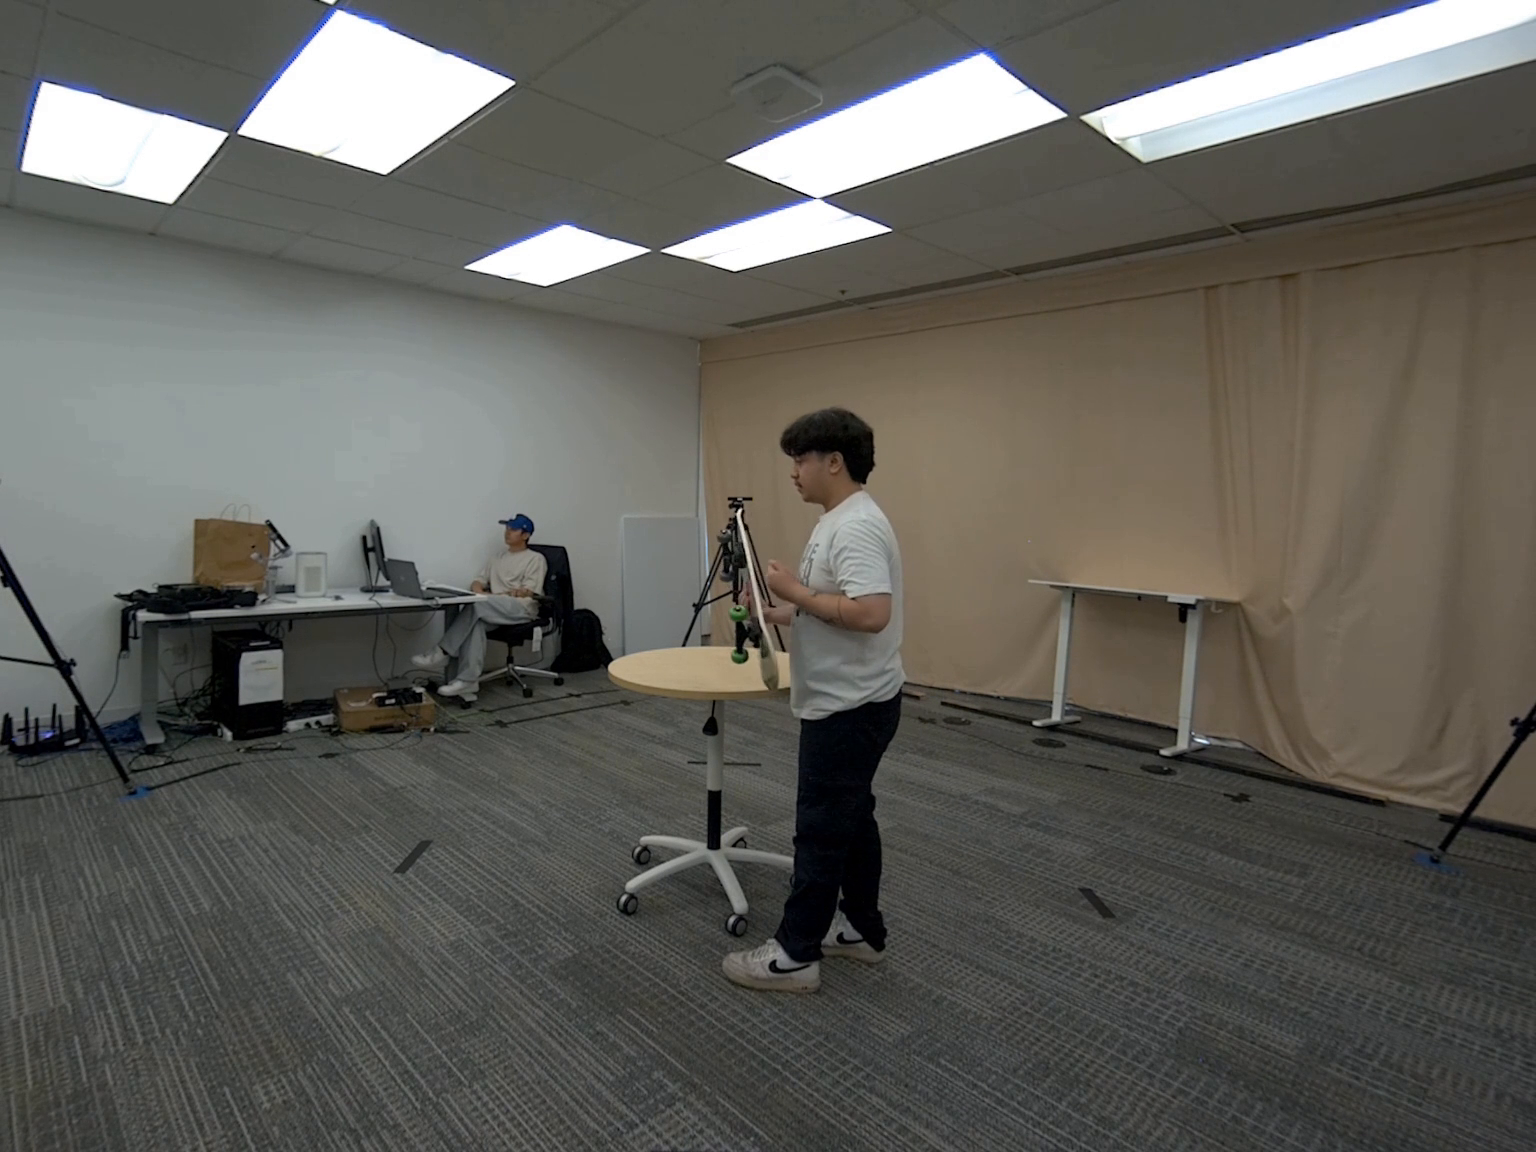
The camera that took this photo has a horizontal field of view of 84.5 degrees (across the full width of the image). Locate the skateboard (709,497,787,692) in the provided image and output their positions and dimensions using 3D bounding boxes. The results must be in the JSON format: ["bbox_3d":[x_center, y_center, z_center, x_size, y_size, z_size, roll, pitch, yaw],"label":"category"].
[{"bbox_3d":[-0.089,0.046,2.534,0.110,0.189,0.806,-6,38,-7],"label":"skateboard"}]
